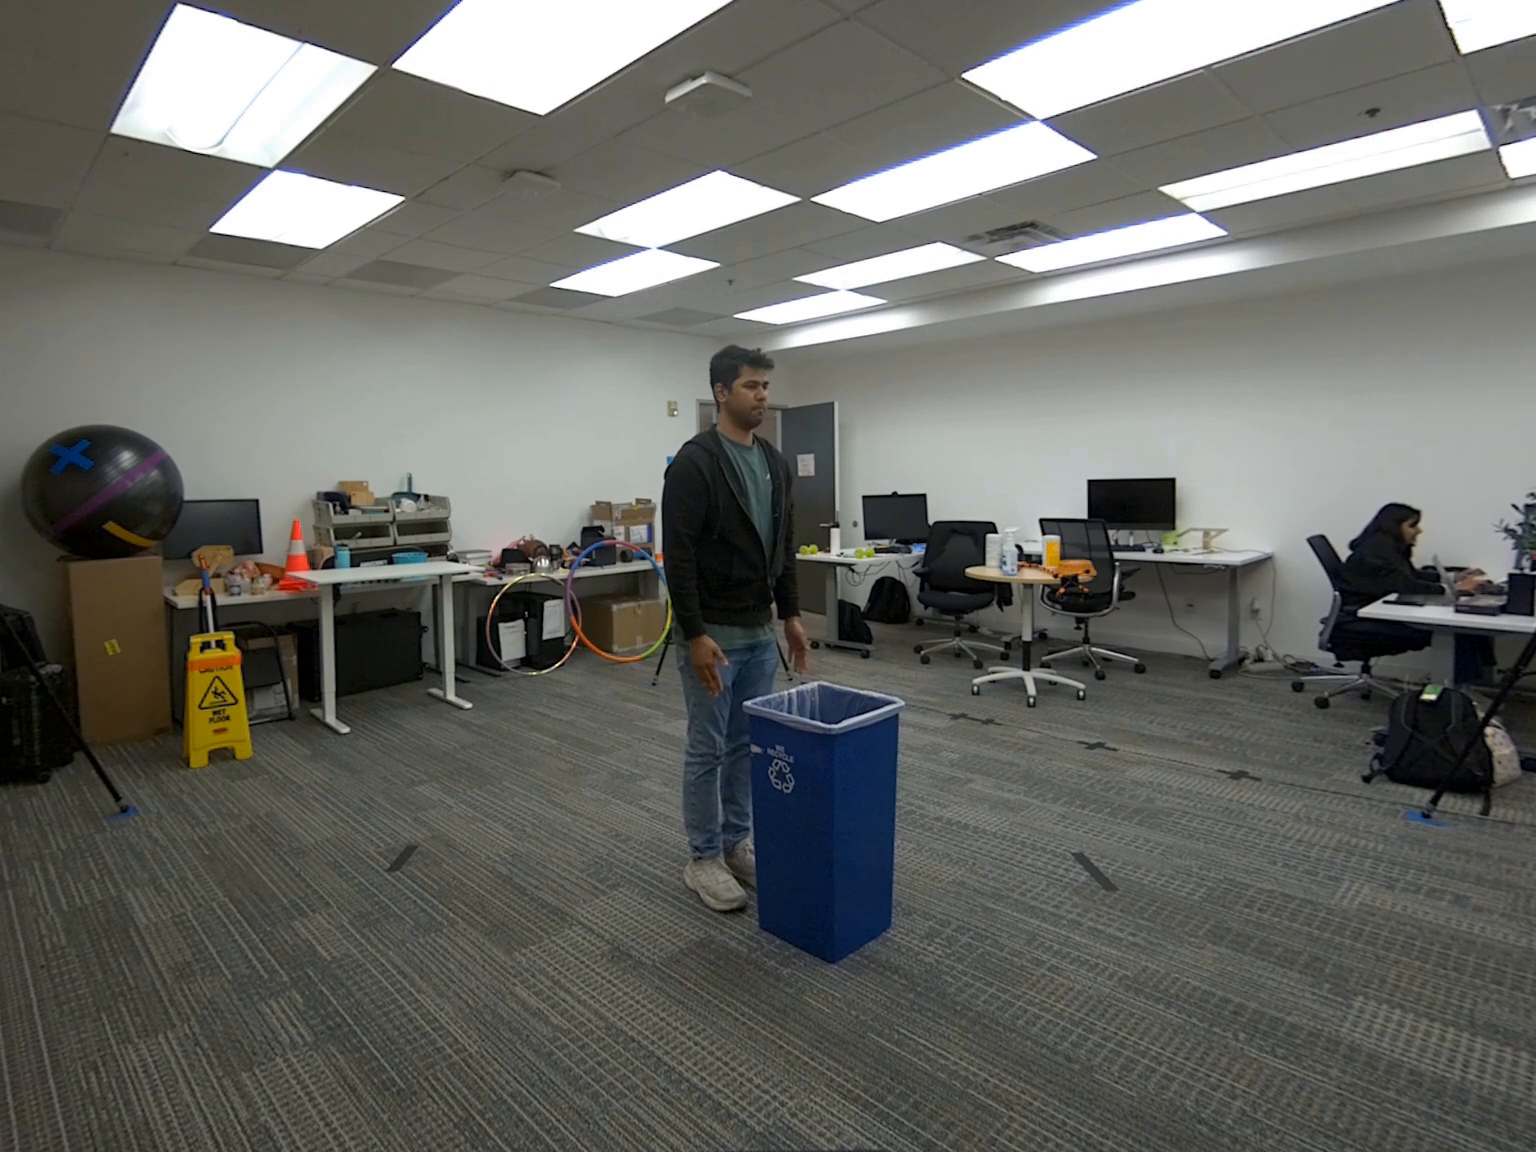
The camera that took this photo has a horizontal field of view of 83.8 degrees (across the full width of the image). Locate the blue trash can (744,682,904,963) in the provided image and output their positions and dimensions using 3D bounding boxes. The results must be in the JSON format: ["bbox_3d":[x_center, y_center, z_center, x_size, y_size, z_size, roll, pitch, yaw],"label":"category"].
[{"bbox_3d":[0.180,0.736,2.628,0.385,0.711,0.368,3,6,44],"label":"blue trash can"}]
